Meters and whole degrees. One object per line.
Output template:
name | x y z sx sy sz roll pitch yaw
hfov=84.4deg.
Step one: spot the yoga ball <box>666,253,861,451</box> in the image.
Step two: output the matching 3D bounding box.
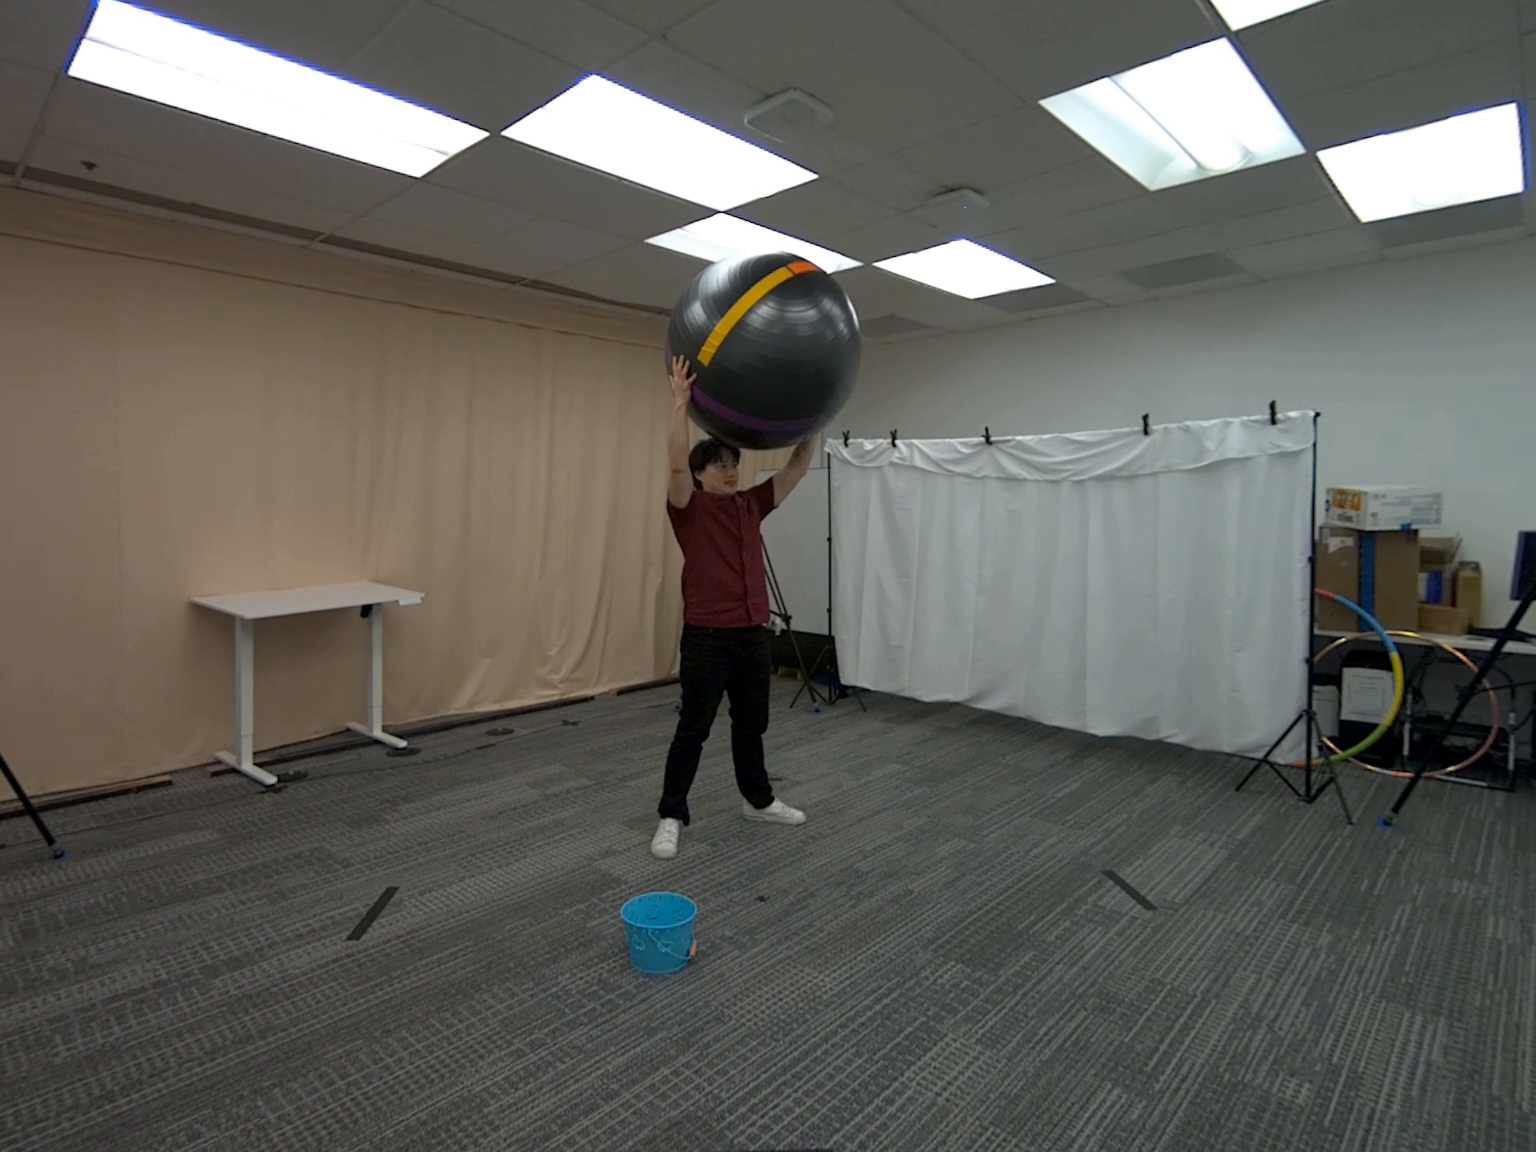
yoga ball | -0.013 -0.861 3.259 0.757 0.756 0.760 0 4 -2
